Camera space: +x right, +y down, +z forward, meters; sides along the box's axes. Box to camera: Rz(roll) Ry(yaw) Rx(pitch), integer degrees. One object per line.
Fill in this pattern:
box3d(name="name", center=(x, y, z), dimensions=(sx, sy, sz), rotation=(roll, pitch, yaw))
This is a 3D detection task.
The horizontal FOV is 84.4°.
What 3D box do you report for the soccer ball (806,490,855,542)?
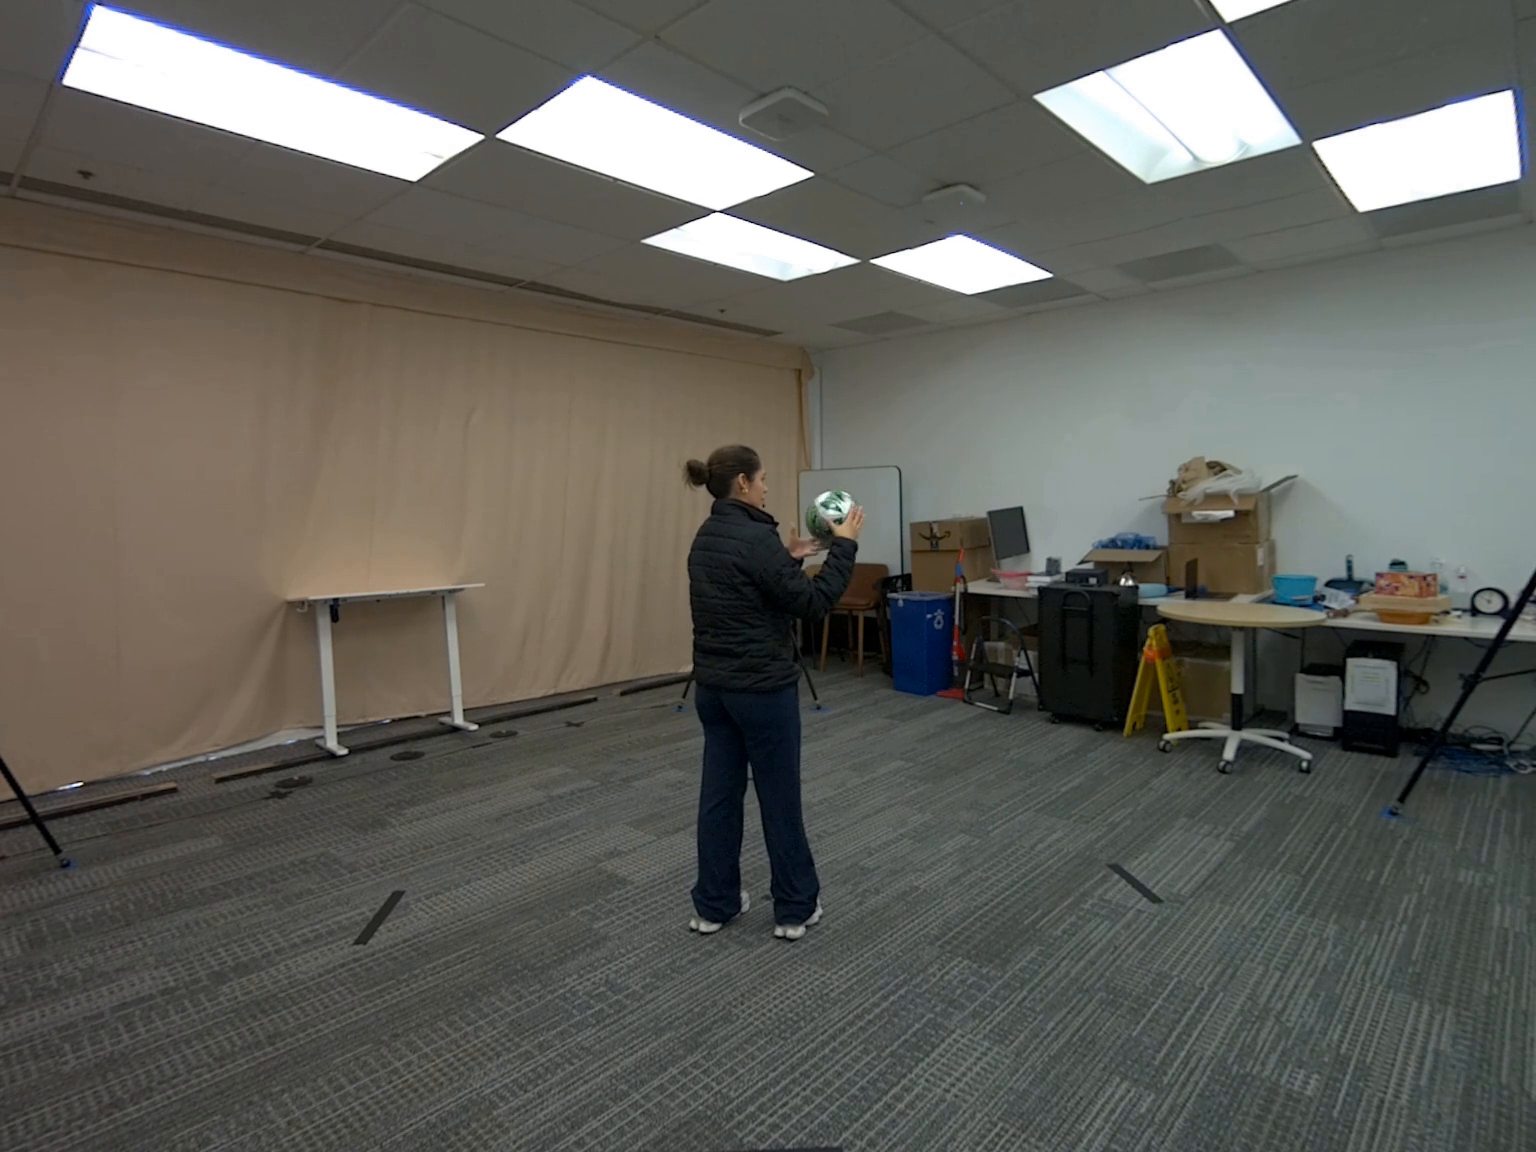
box3d(name="soccer ball", center=(0.220, -0.188, 2.800), dimensions=(0.187, 0.187, 0.188), rotation=(-1, 4, -2))
